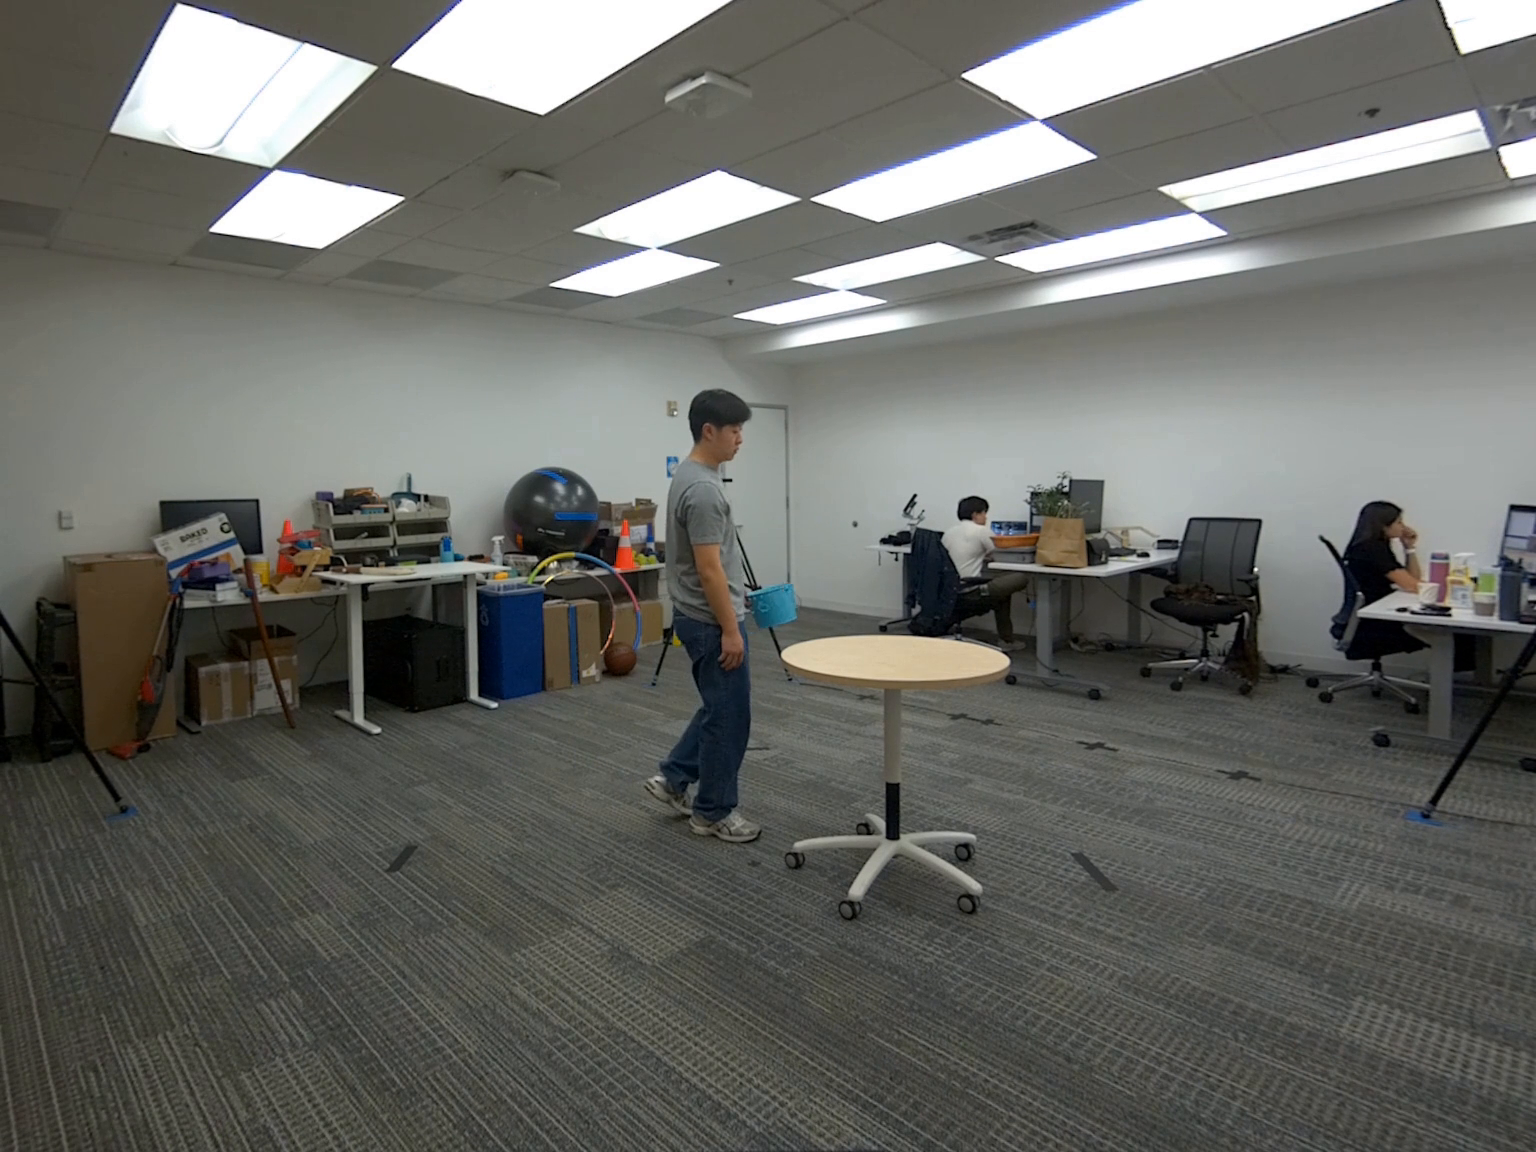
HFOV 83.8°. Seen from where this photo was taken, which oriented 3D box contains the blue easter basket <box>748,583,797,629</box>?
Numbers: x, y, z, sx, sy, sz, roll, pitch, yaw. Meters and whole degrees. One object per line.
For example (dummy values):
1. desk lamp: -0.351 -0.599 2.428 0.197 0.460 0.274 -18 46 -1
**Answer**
1. blue easter basket: 0.023 0.138 3.759 0.243 0.155 0.244 -13 3 -1
